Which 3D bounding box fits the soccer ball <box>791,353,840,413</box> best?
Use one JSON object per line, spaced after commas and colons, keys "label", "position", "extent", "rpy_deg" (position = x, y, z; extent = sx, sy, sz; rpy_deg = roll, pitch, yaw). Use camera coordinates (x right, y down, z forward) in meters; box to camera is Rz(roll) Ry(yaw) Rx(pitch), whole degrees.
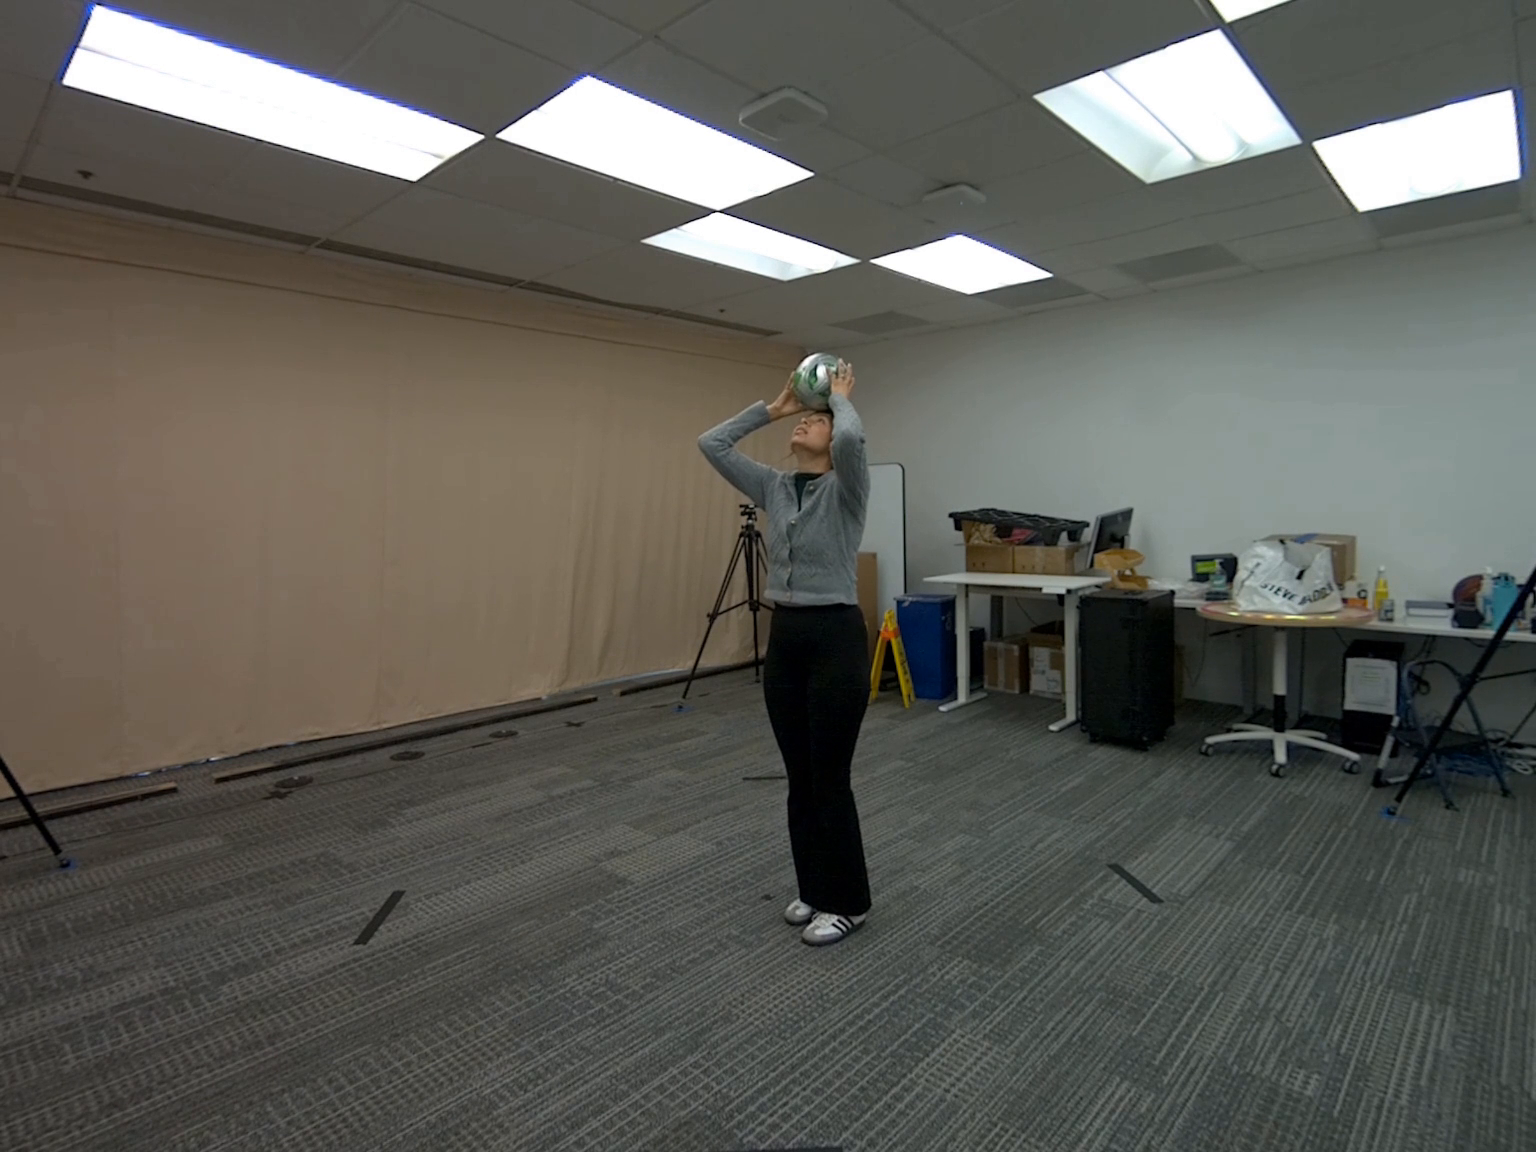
{"label": "soccer ball", "position": [0.177, -0.626, 2.731], "extent": [0.187, 0.187, 0.188], "rpy_deg": [-1, 4, -2]}
